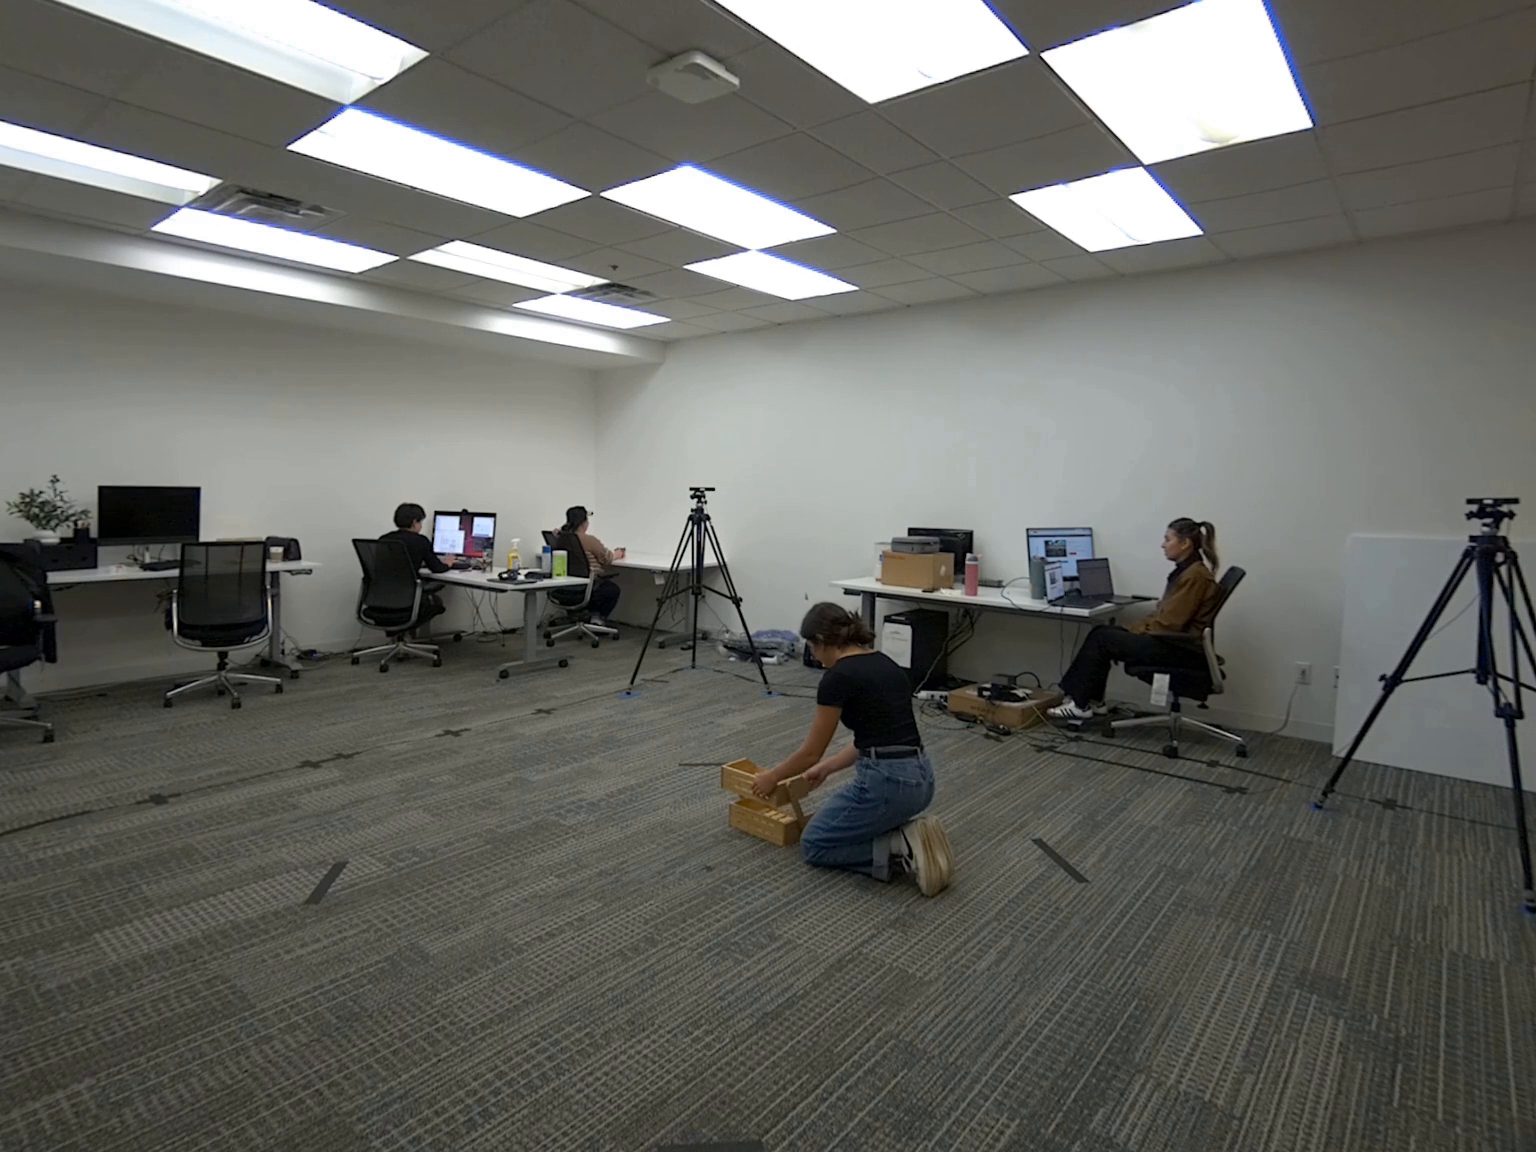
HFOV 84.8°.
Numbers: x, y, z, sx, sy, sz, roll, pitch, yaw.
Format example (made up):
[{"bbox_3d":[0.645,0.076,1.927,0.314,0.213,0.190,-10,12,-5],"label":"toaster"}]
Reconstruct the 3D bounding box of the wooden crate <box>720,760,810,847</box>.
[{"bbox_3d":[0.009,0.900,3.480,0.335,0.272,0.293,5,7,42],"label":"wooden crate"}]
